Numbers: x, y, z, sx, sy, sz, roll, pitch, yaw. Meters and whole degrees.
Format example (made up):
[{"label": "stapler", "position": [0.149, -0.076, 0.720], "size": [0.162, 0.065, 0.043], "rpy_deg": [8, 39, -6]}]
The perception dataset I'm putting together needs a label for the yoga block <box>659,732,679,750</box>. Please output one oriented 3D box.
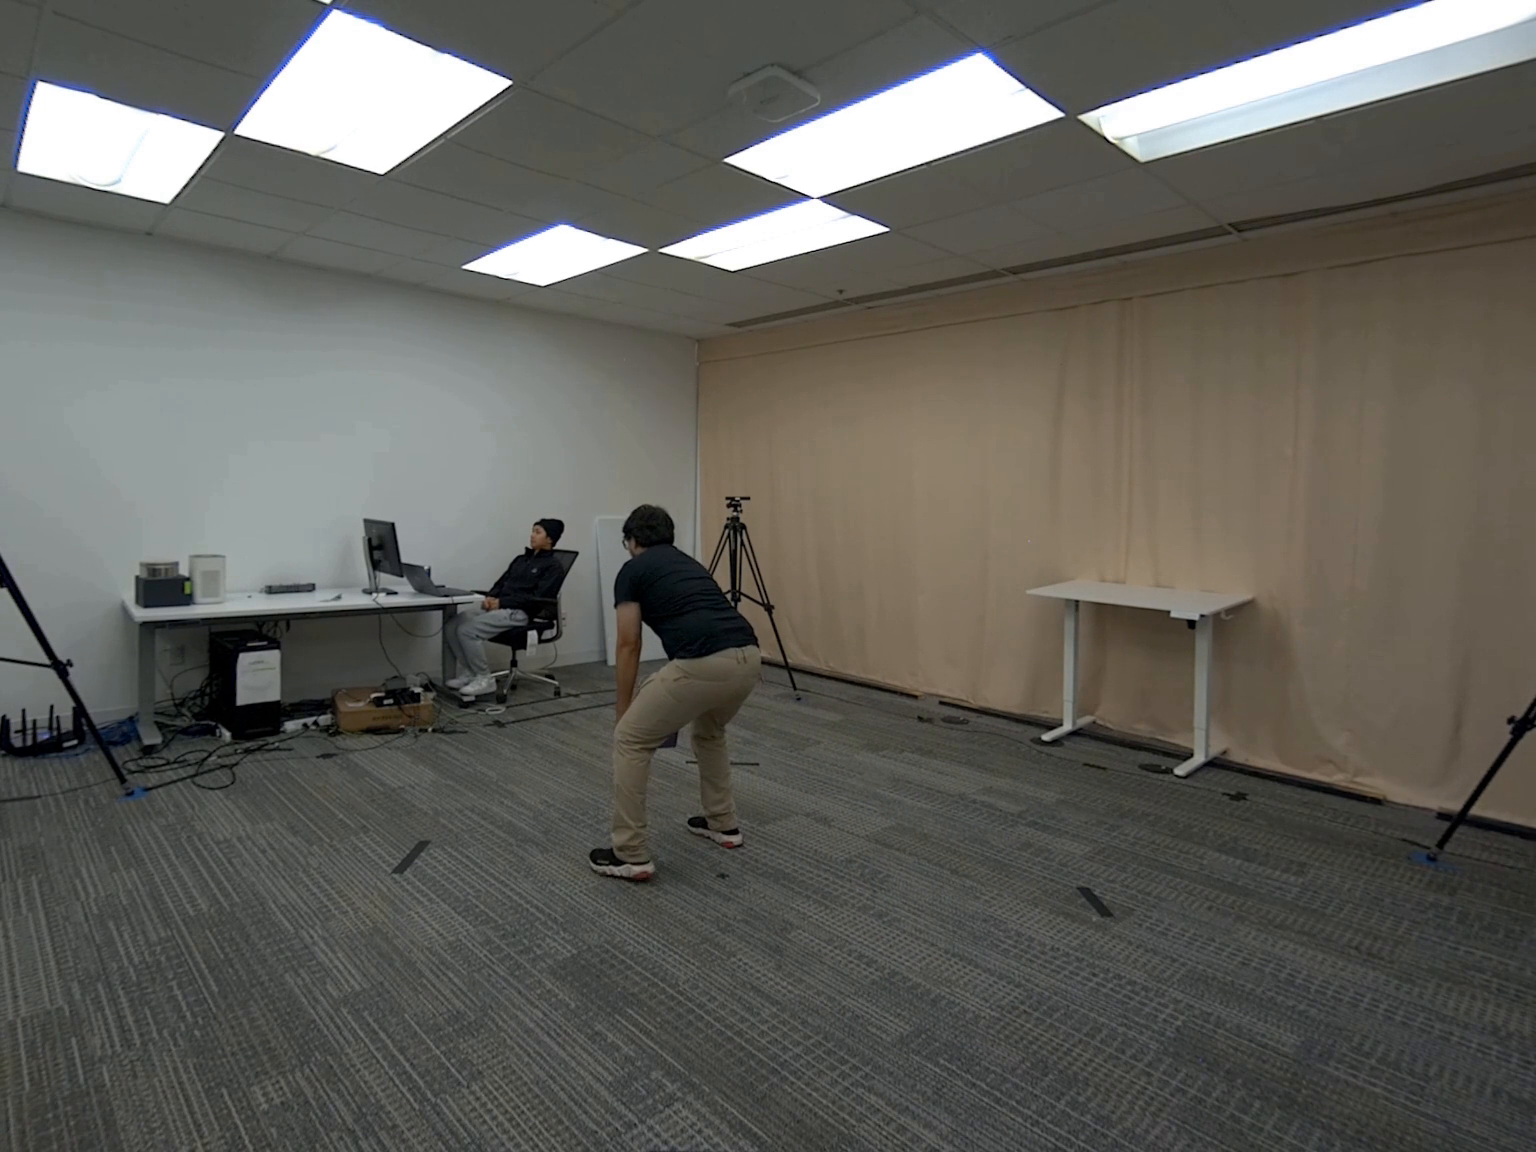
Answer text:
[{"label": "yoga block", "position": [-0.496, 0.661, 3.400], "size": [0.152, 0.076, 0.223], "rpy_deg": [4, -1, 37]}]
